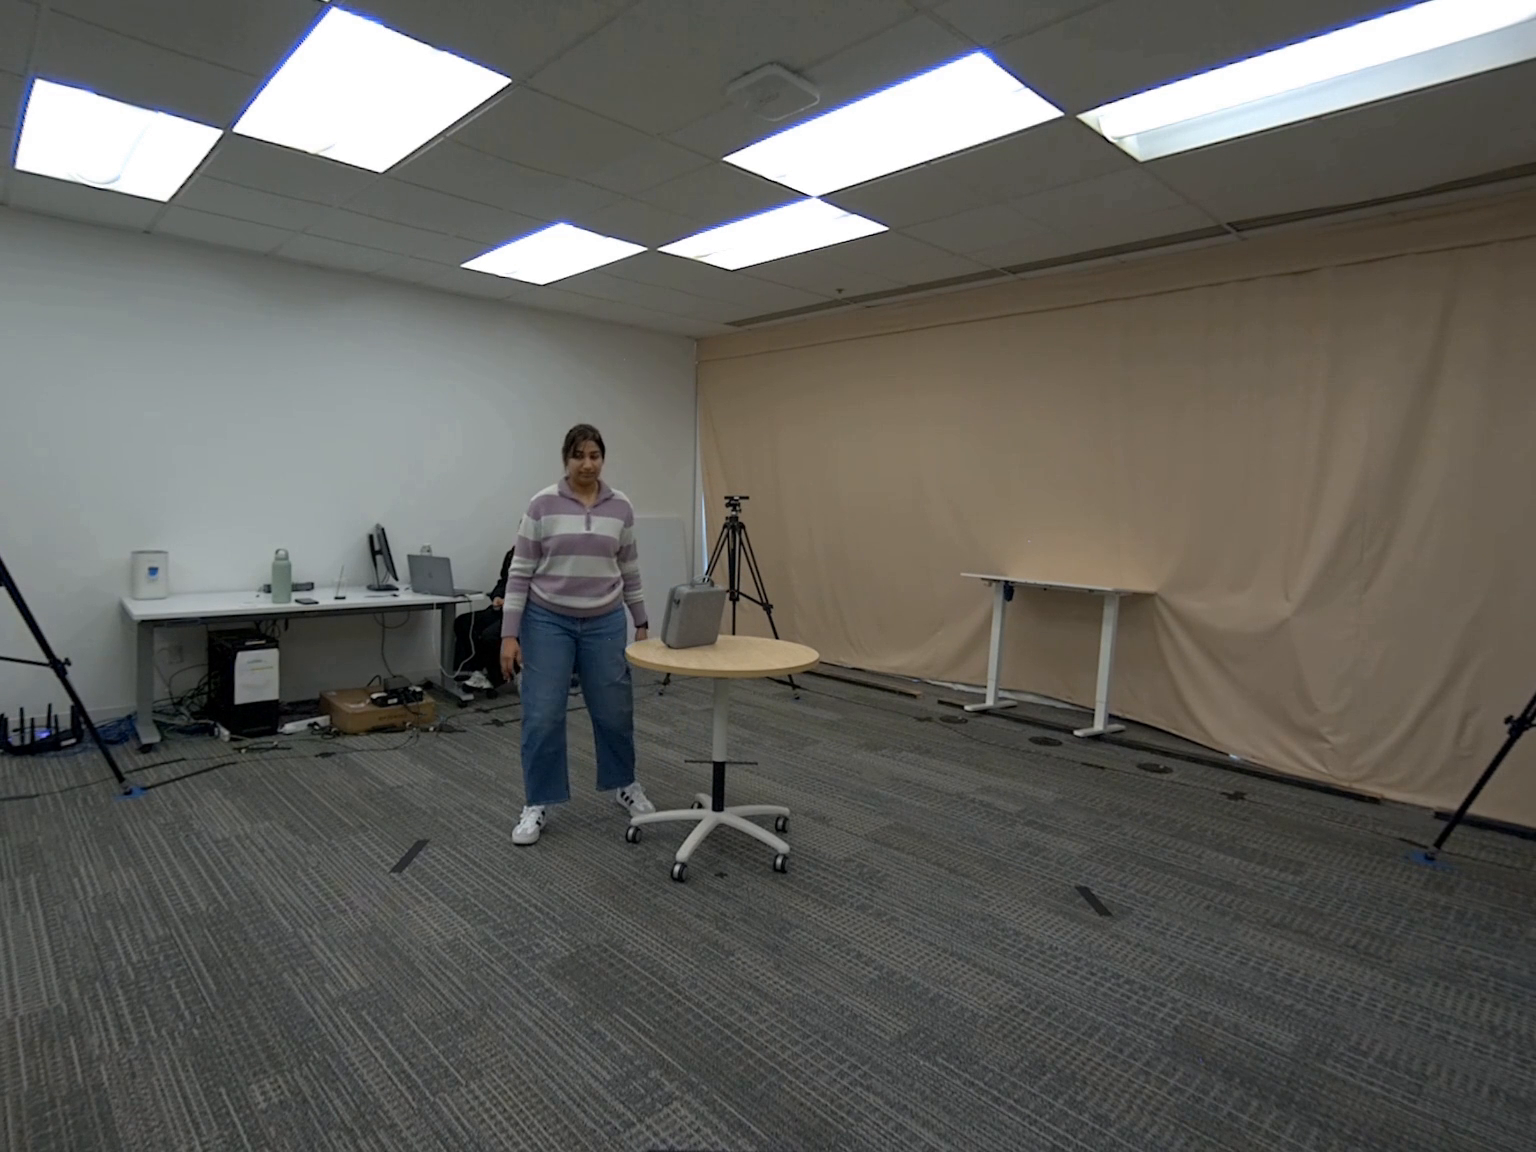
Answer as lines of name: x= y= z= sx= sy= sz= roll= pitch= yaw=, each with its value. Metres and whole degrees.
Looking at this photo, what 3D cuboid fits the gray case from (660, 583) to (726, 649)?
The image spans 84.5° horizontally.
gray case: x=-0.304 y=0.154 z=3.415 sx=0.107 sy=0.259 sz=0.251 roll=21 pitch=16 yaw=39
